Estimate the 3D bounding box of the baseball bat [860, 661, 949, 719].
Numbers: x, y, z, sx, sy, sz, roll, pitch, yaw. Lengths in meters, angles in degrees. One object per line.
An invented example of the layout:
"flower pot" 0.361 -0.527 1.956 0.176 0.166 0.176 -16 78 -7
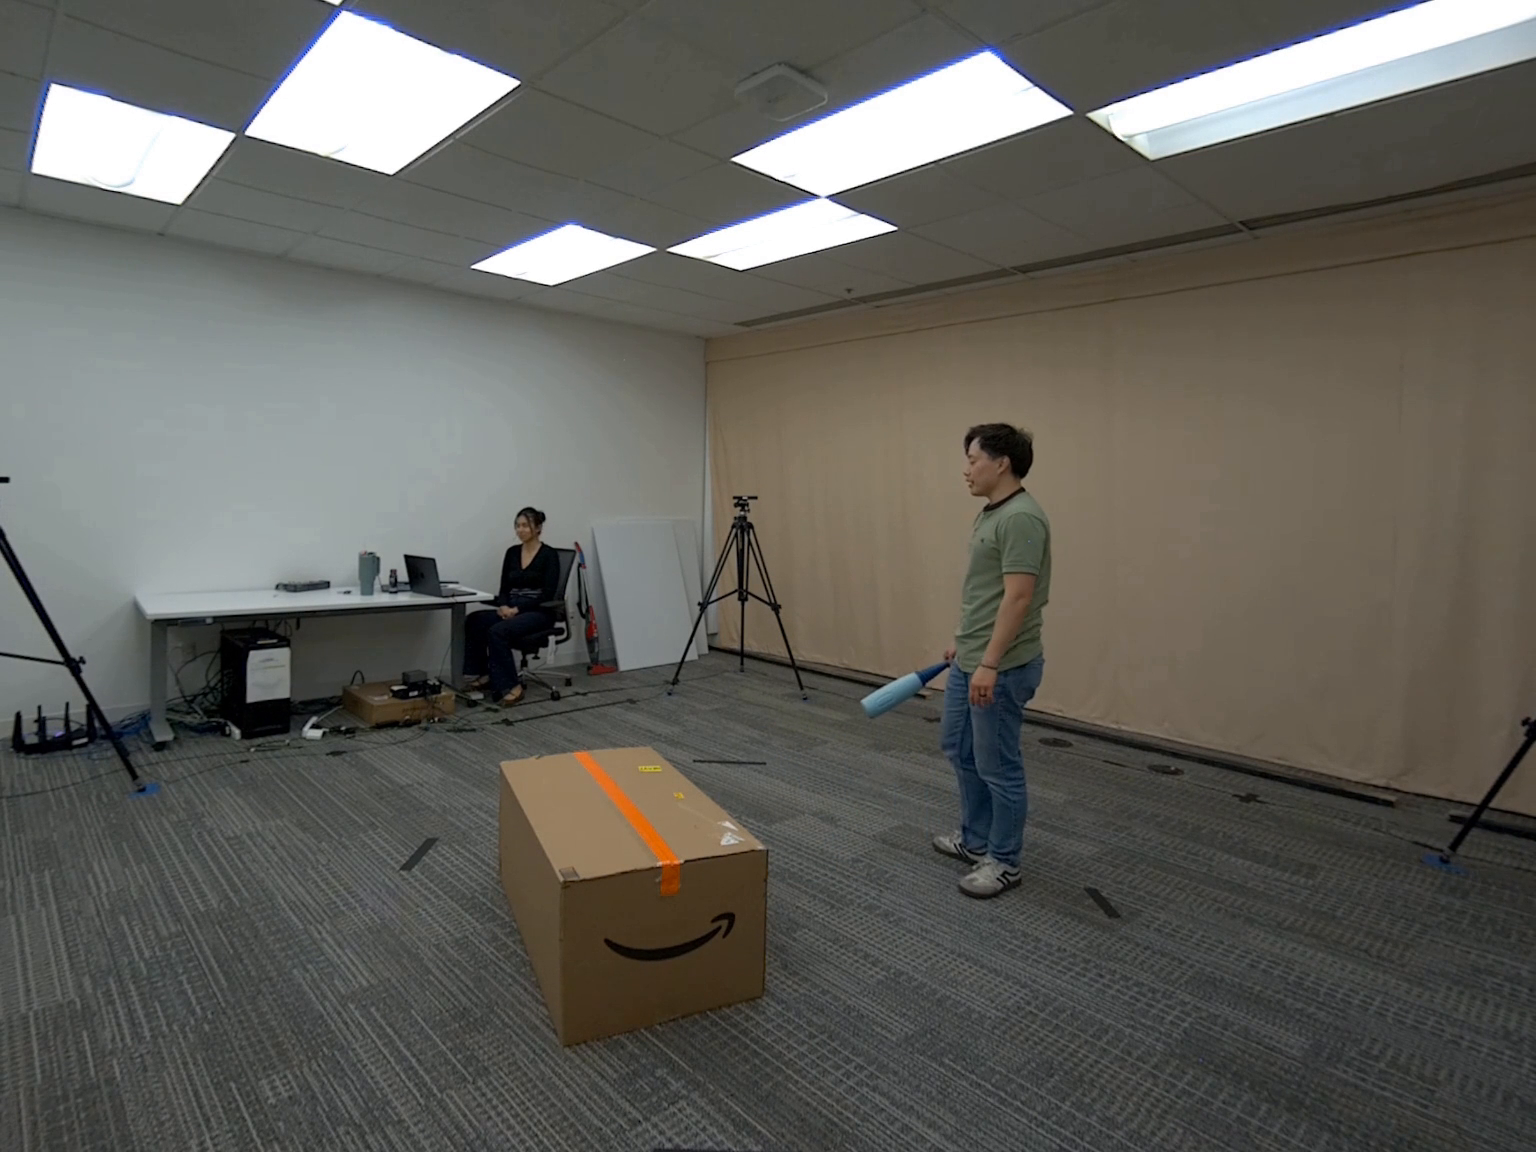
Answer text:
"baseball bat" 0.618 0.406 3.341 0.542 0.088 0.090 -28 8 -5
